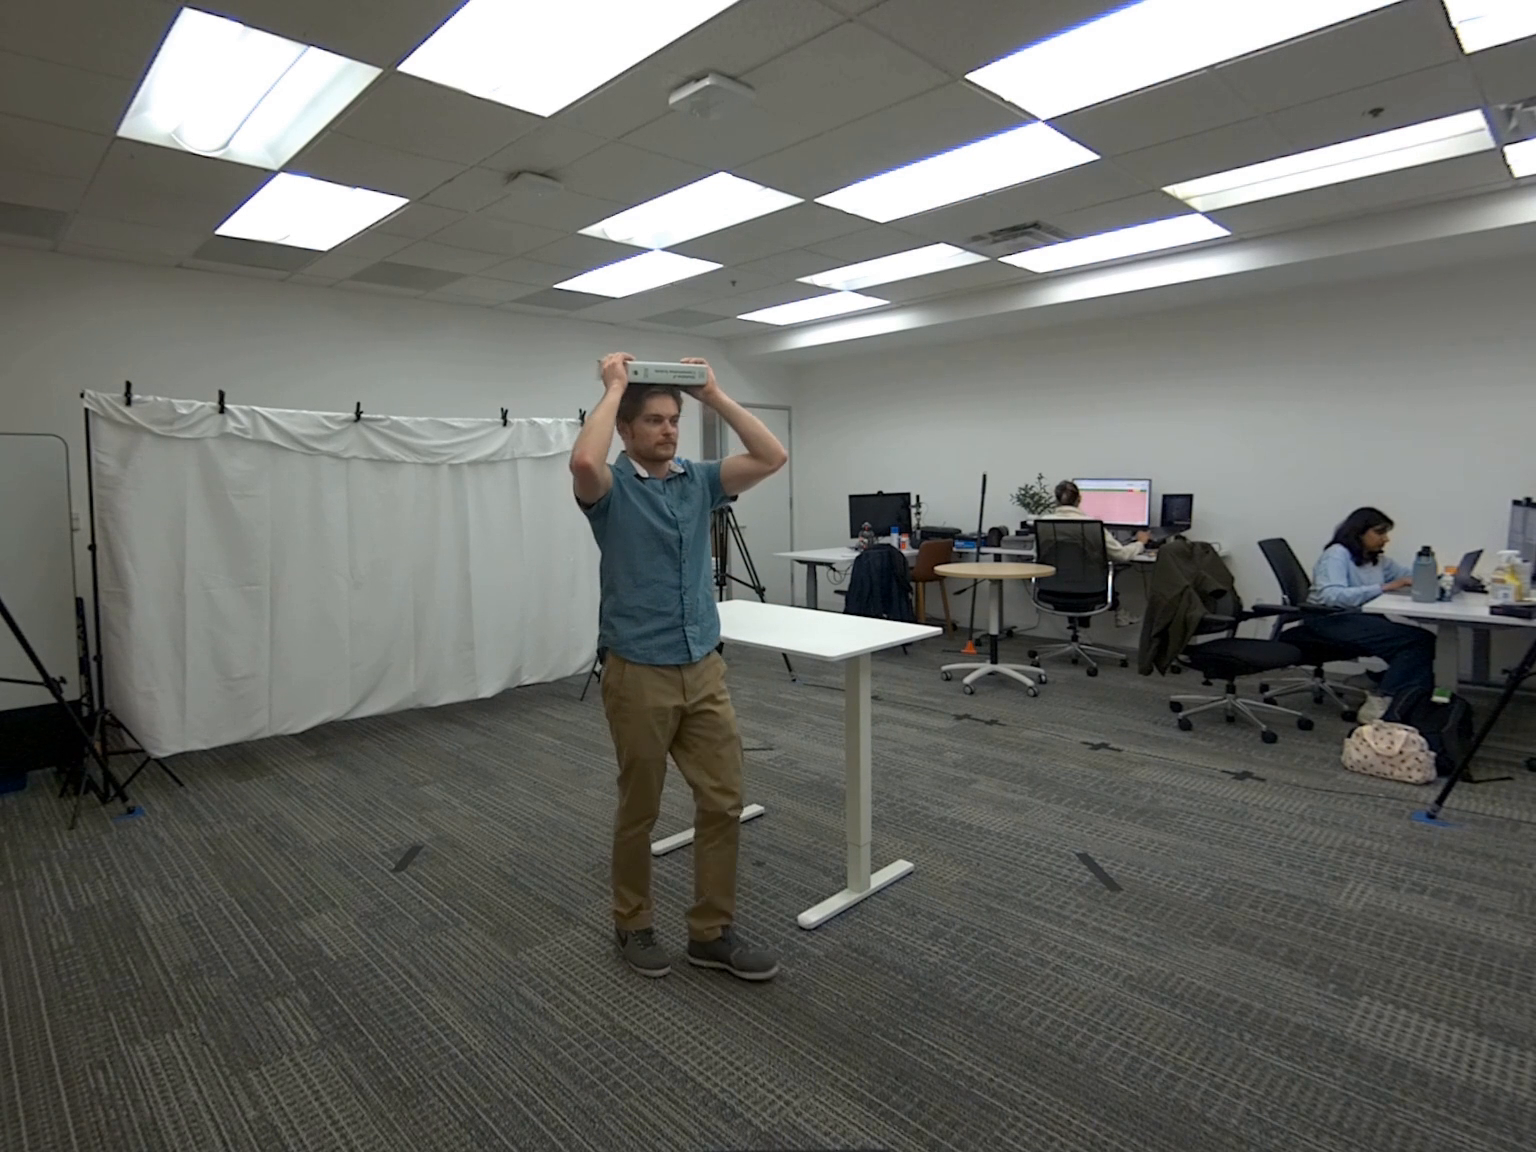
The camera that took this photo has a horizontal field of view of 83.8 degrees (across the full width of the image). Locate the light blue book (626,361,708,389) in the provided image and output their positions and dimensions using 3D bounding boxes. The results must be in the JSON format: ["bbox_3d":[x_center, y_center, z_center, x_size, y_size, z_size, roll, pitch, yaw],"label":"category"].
[{"bbox_3d":[-0.330,-0.581,2.441,0.255,0.058,0.198,-8,16,-35],"label":"light blue book"}]
